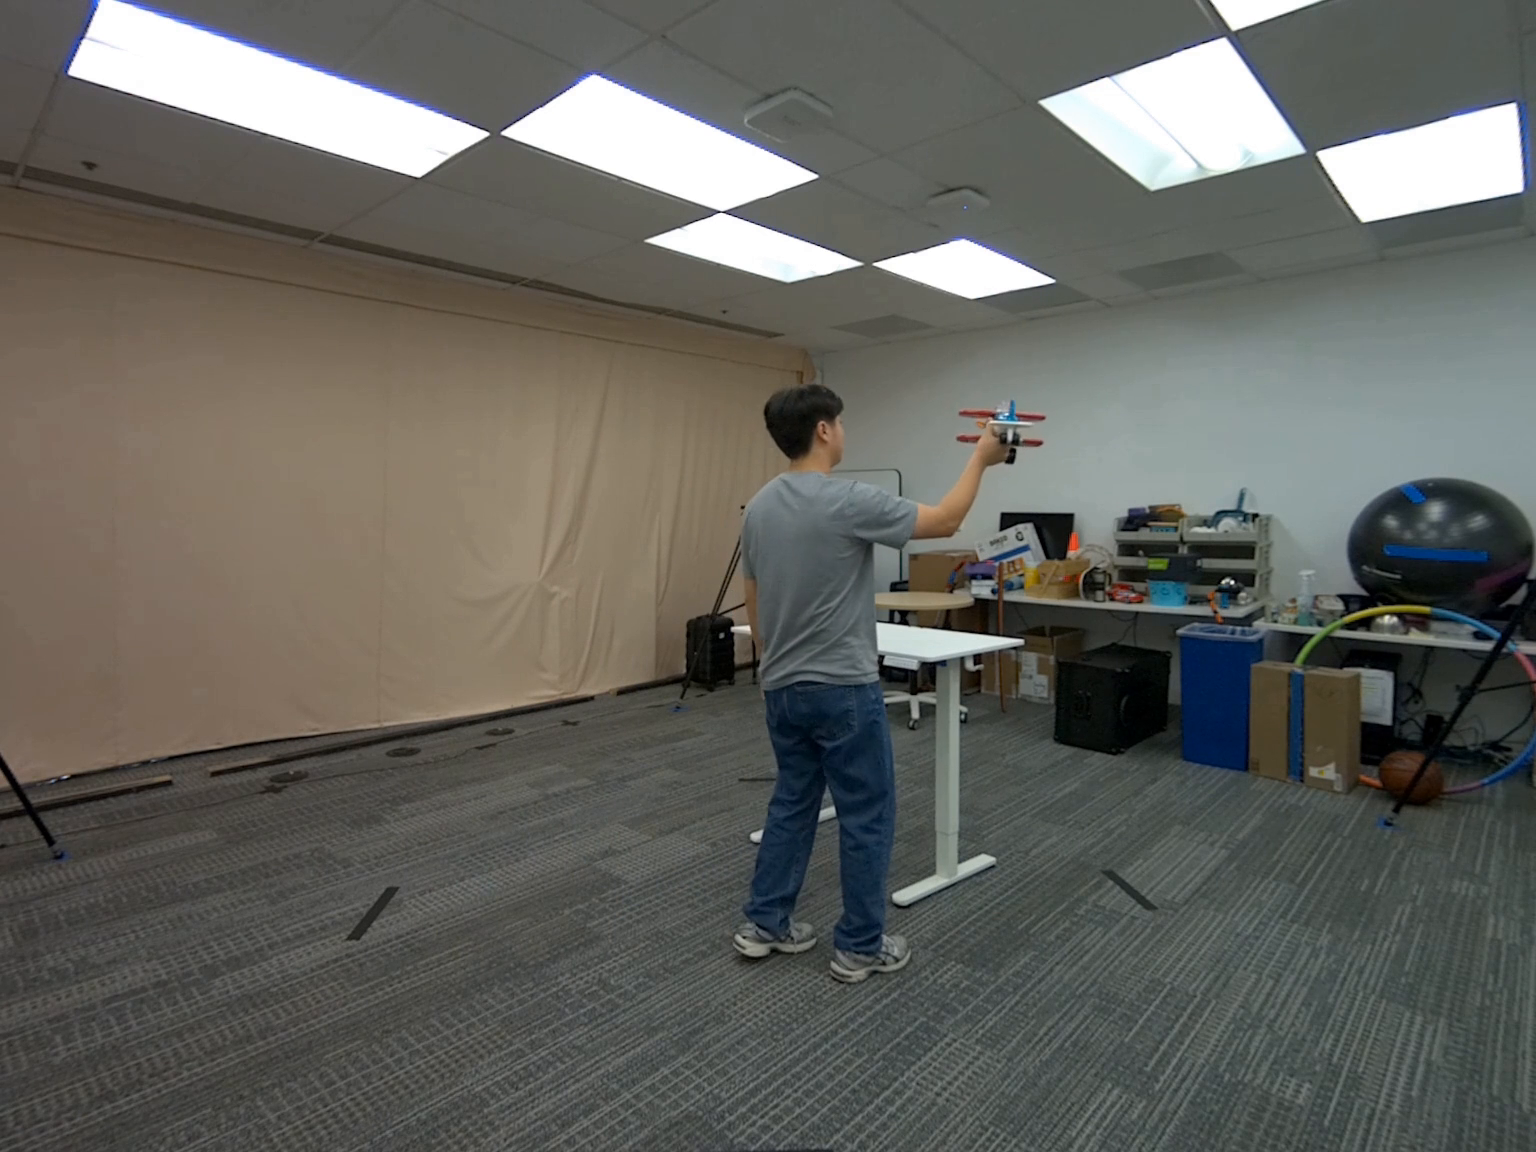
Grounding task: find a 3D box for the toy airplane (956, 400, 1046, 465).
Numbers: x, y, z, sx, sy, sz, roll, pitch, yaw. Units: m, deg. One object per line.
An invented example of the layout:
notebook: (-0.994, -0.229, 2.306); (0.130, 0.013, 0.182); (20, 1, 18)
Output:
toy airplane: (0.732, -0.440, 2.553); (0.245, 0.157, 0.264); (10, -12, -22)
